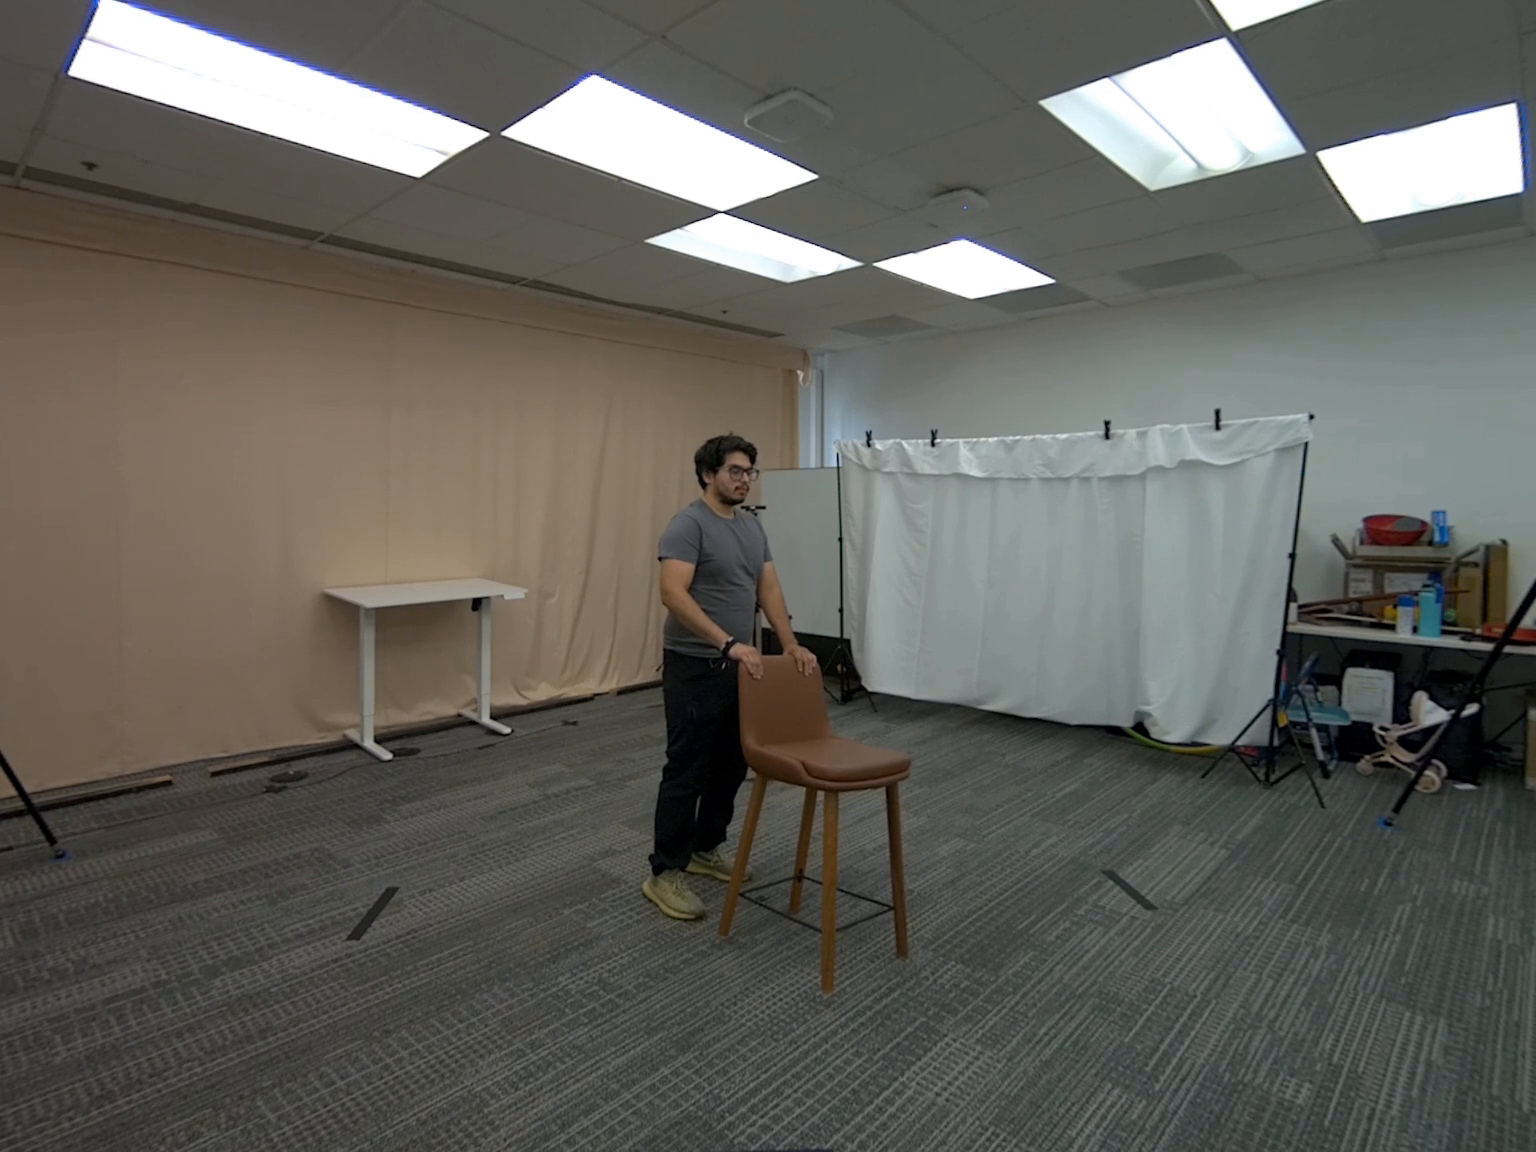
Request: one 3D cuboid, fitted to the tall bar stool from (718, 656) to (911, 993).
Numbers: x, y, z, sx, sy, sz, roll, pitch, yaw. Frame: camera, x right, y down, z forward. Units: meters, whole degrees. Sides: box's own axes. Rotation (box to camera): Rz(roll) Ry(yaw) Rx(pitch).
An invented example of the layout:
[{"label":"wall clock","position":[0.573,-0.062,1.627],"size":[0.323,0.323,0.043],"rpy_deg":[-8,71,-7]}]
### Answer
[{"label":"tall bar stool","position":[0.163,0.718,2.638],"size":[0.483,0.891,0.441],"rpy_deg":[0,-5,43]}]
